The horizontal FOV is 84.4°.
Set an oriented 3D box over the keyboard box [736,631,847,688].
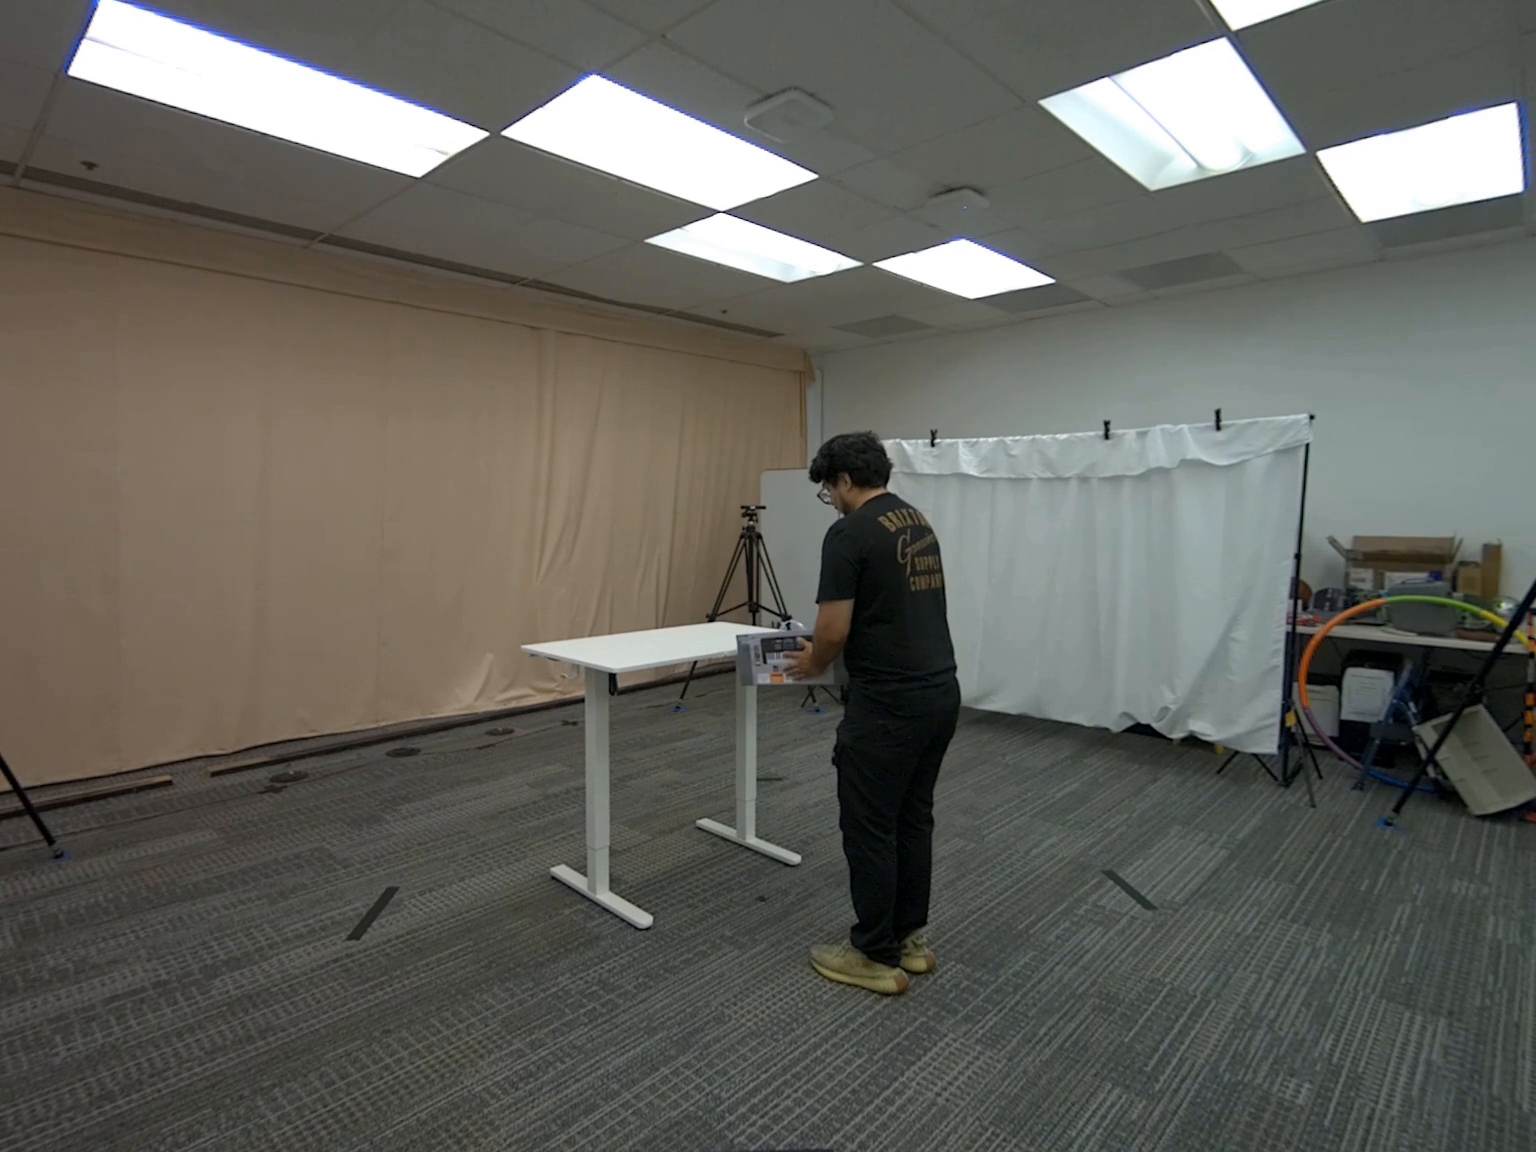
[{"bbox_3d":[0.088,0.267,2.731,0.449,0.176,0.057,-8,-4,39],"label":"keyboard box"}]
